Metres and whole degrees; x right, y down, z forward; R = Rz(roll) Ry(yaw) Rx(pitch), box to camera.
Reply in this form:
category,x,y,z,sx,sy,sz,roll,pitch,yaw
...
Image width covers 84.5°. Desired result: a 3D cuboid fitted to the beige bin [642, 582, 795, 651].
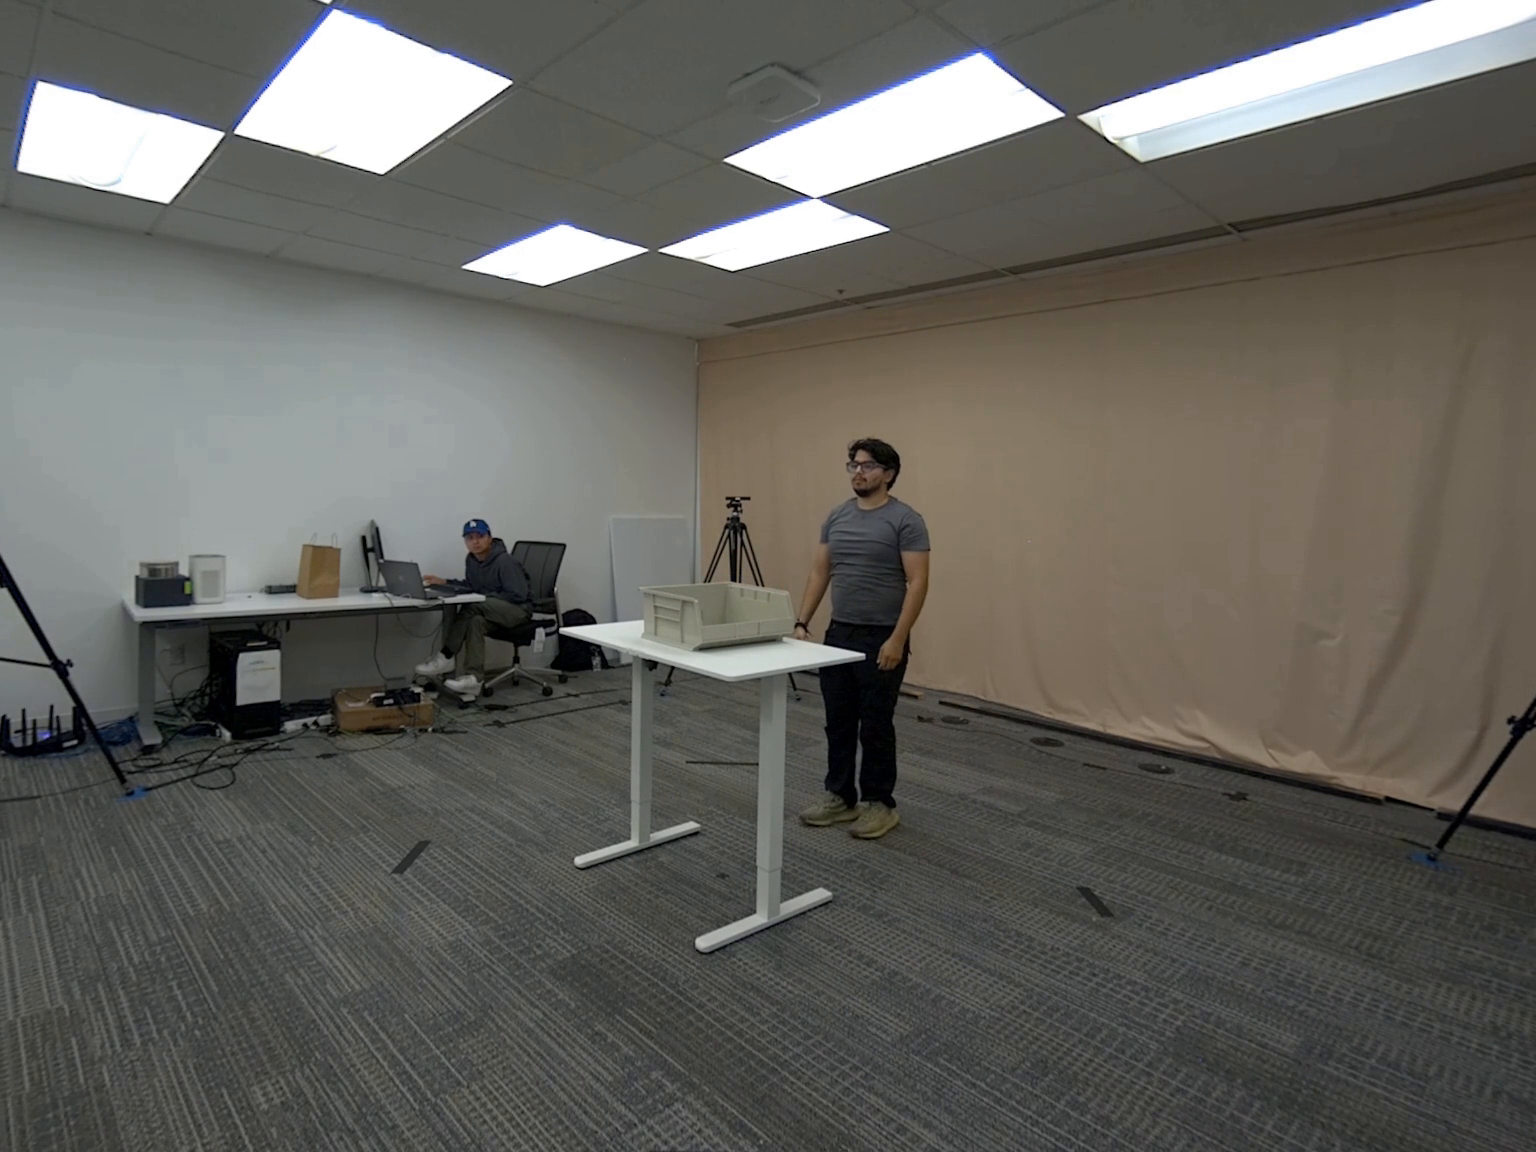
category,x,y,z,sx,sy,sz,roll,pitch,yaw
beige bin,-0.191,0.141,3.014,0.413,0.188,0.387,-4,6,-39
